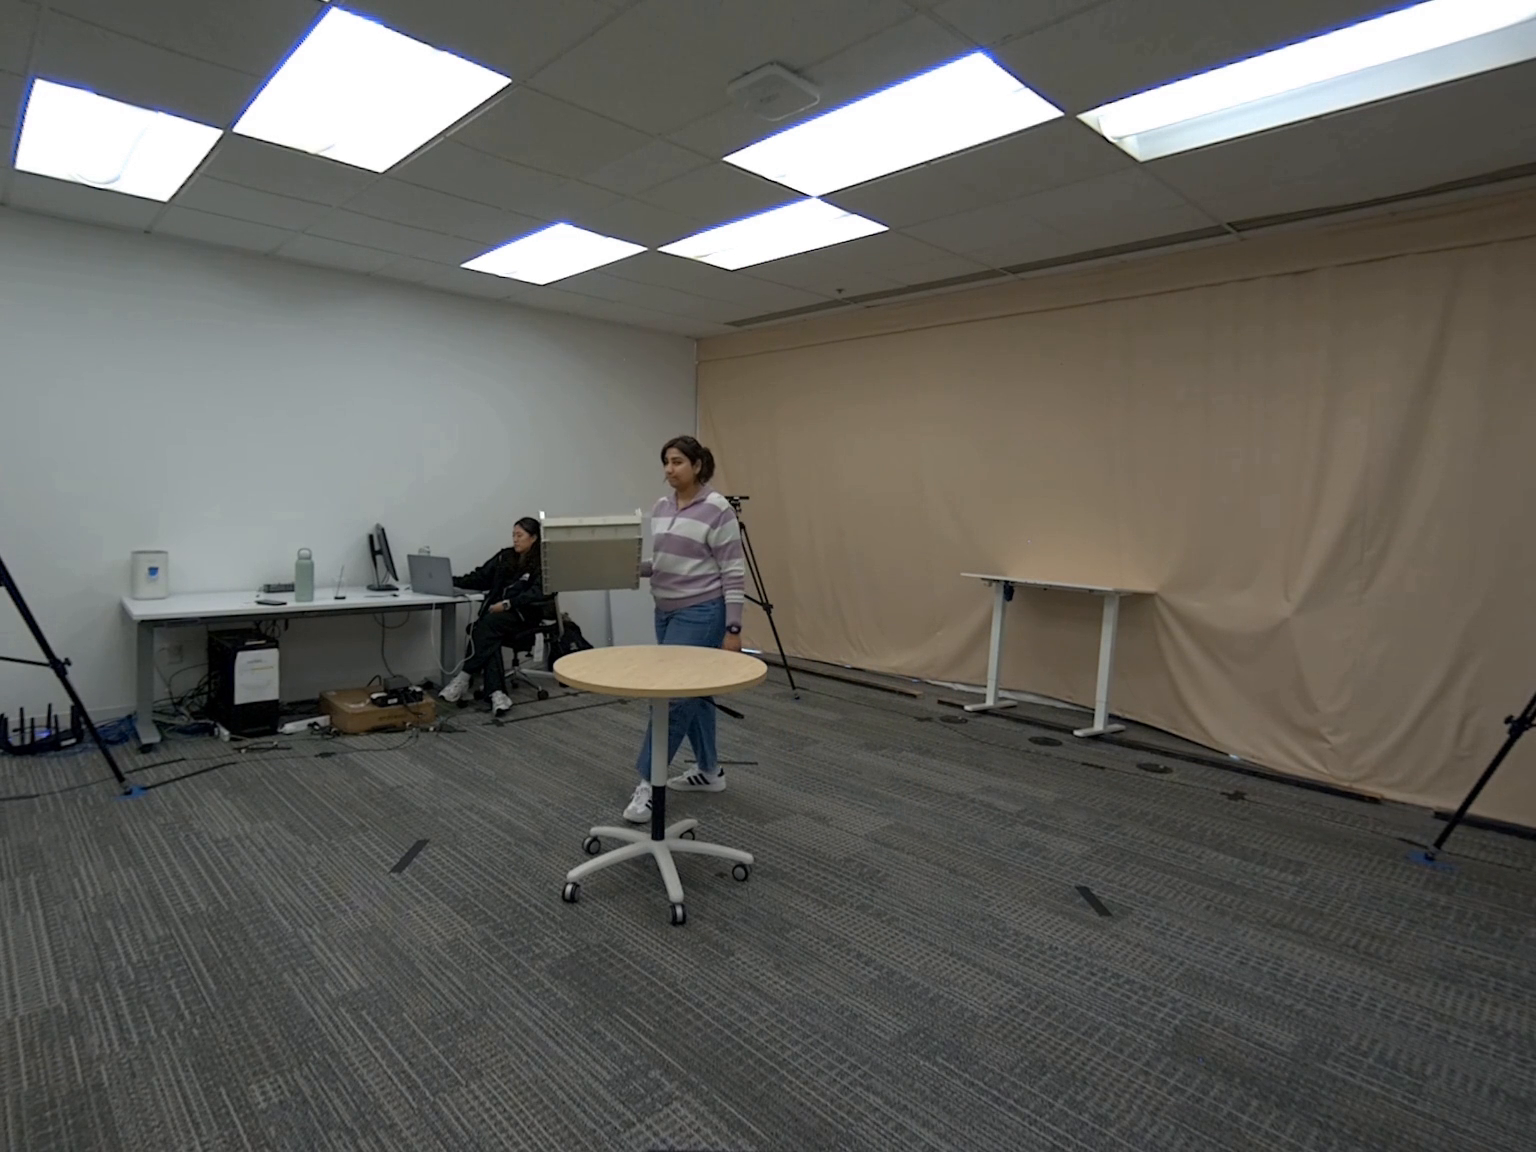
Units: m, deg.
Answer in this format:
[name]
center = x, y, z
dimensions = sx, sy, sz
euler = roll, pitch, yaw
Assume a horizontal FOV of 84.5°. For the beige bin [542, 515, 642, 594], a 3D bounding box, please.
[beige bin]
center = -0.766, -0.113, 3.608
dimensions = 0.418, 0.371, 0.194
euler = -1, 43, -13
